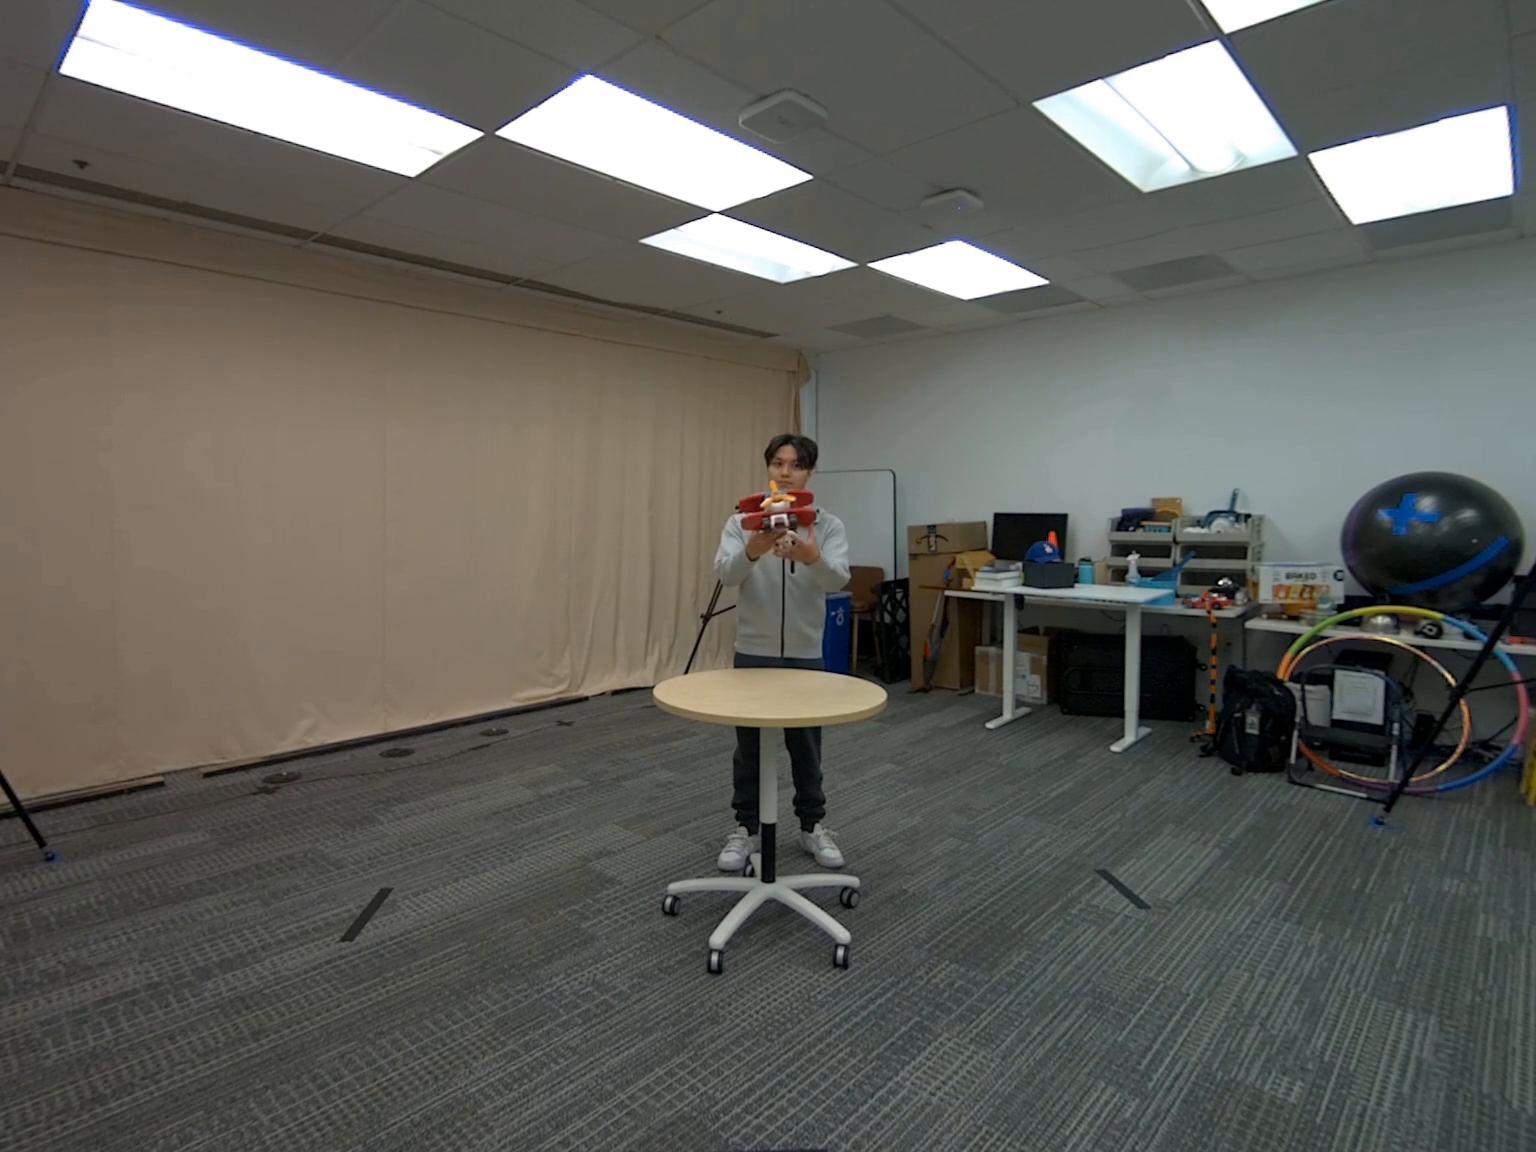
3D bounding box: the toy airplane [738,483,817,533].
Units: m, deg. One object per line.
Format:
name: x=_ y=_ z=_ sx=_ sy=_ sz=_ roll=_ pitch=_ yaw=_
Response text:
toy airplane: x=0.012 y=-0.145 z=2.875 sx=0.245 sy=0.159 sz=0.262 roll=7 pitch=-26 yaw=-25
